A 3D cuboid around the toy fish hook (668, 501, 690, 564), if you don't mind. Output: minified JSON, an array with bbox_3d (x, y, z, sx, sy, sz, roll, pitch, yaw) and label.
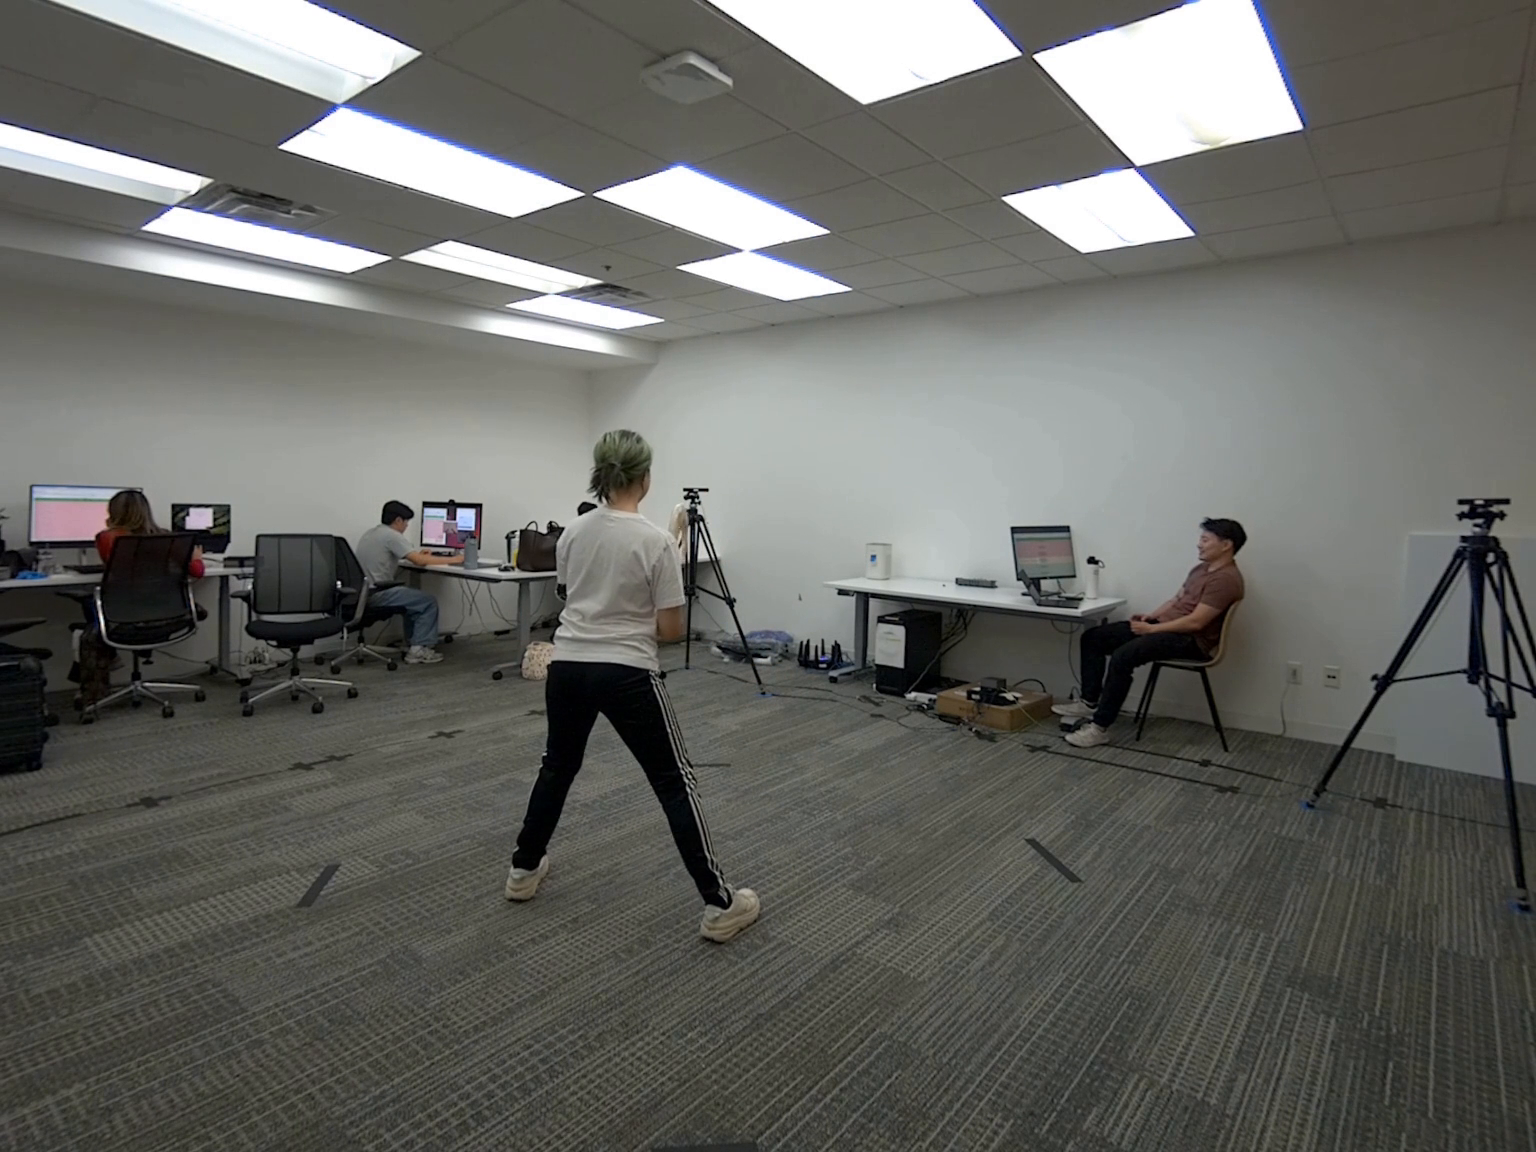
[{"bbox_3d":[-0.354,-0.022,3.156,0.049,0.515,0.217,2,-23,15],"label":"toy fish hook"}]
